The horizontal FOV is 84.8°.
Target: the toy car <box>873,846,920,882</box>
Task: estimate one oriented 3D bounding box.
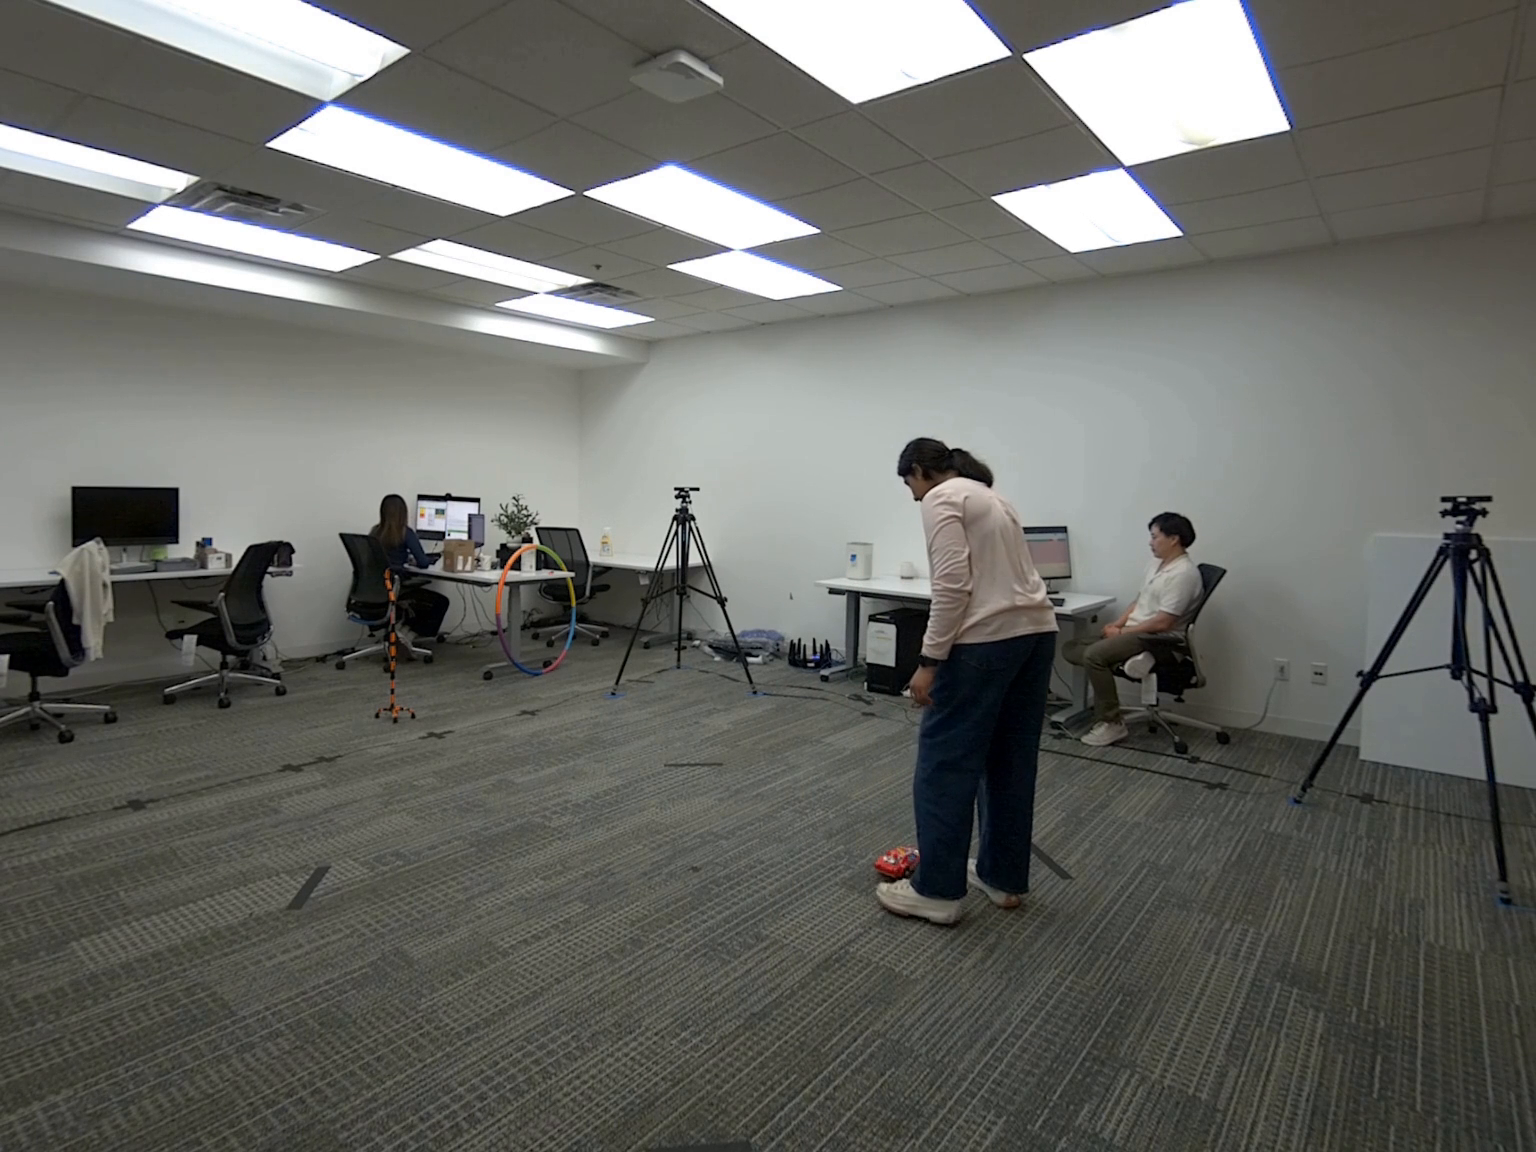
[{"bbox_3d":[0.477,1.045,3.122,0.135,0.083,0.245,6,-4,41],"label":"toy car"}]
